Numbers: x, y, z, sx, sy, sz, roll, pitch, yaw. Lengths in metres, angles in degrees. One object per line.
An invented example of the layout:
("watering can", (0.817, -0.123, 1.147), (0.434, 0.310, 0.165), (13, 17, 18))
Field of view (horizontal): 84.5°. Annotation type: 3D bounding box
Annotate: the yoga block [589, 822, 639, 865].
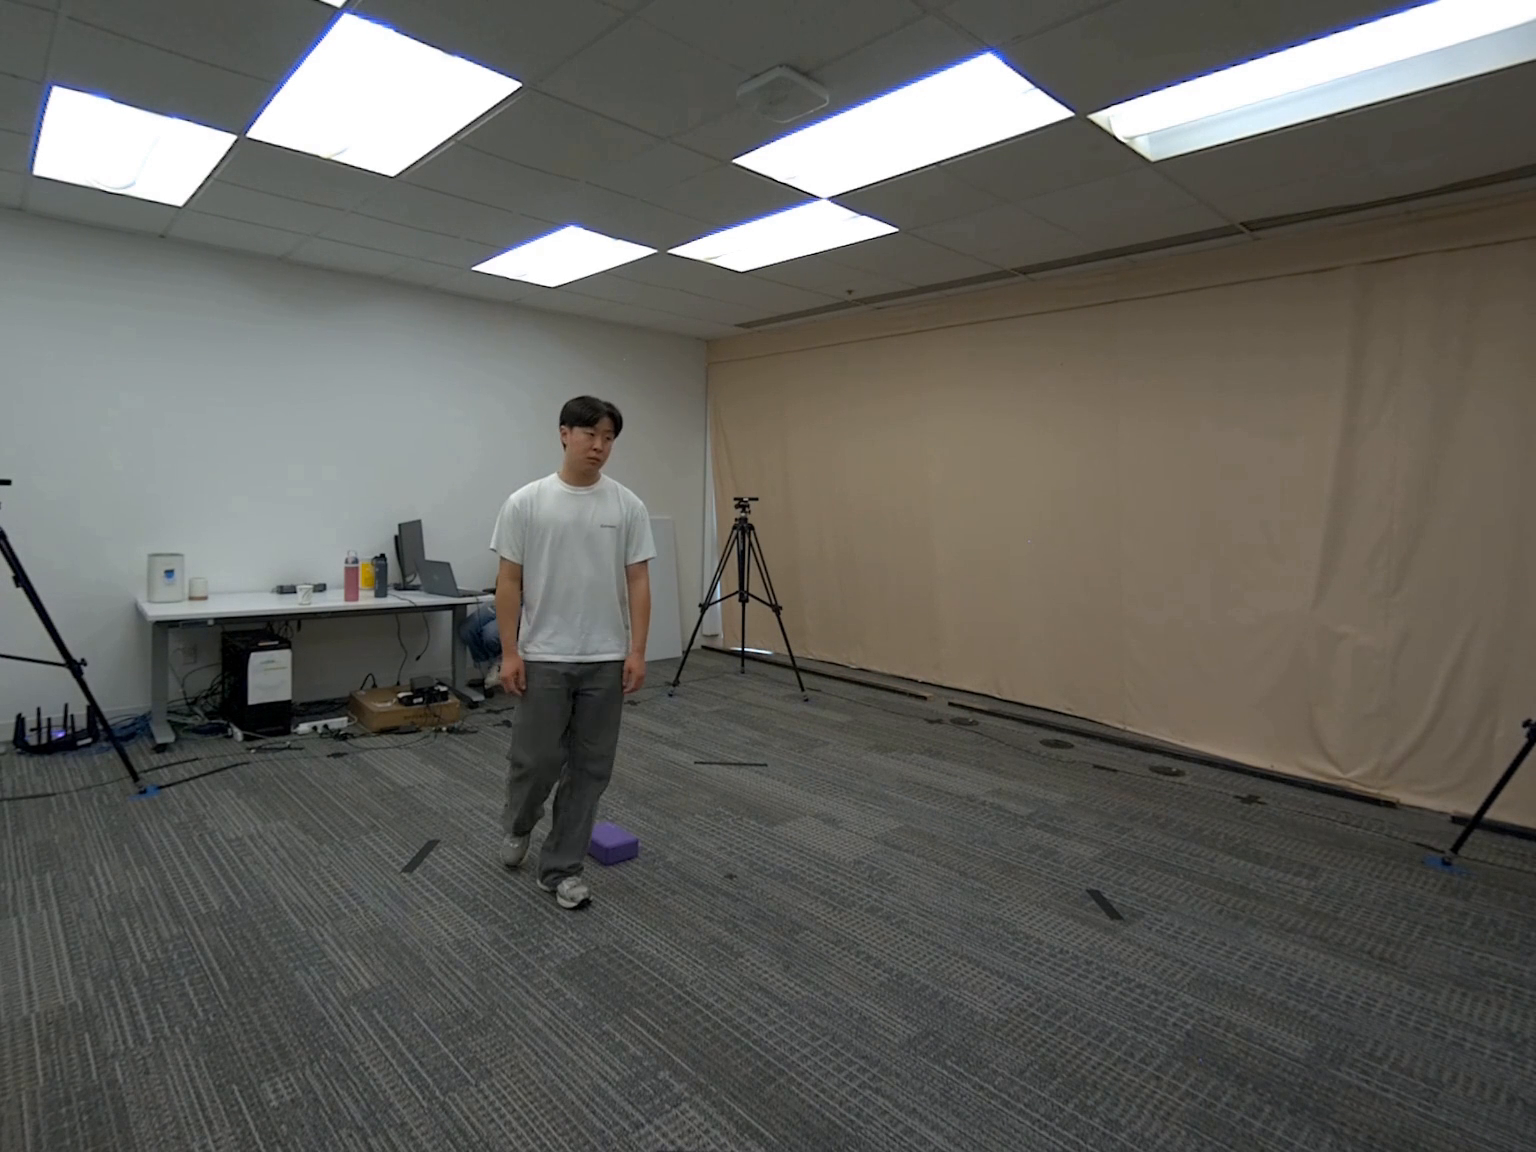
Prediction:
("yoga block", (-0.638, 1.046, 3.283), (0.145, 0.076, 0.235), (-2, 6, -41))
